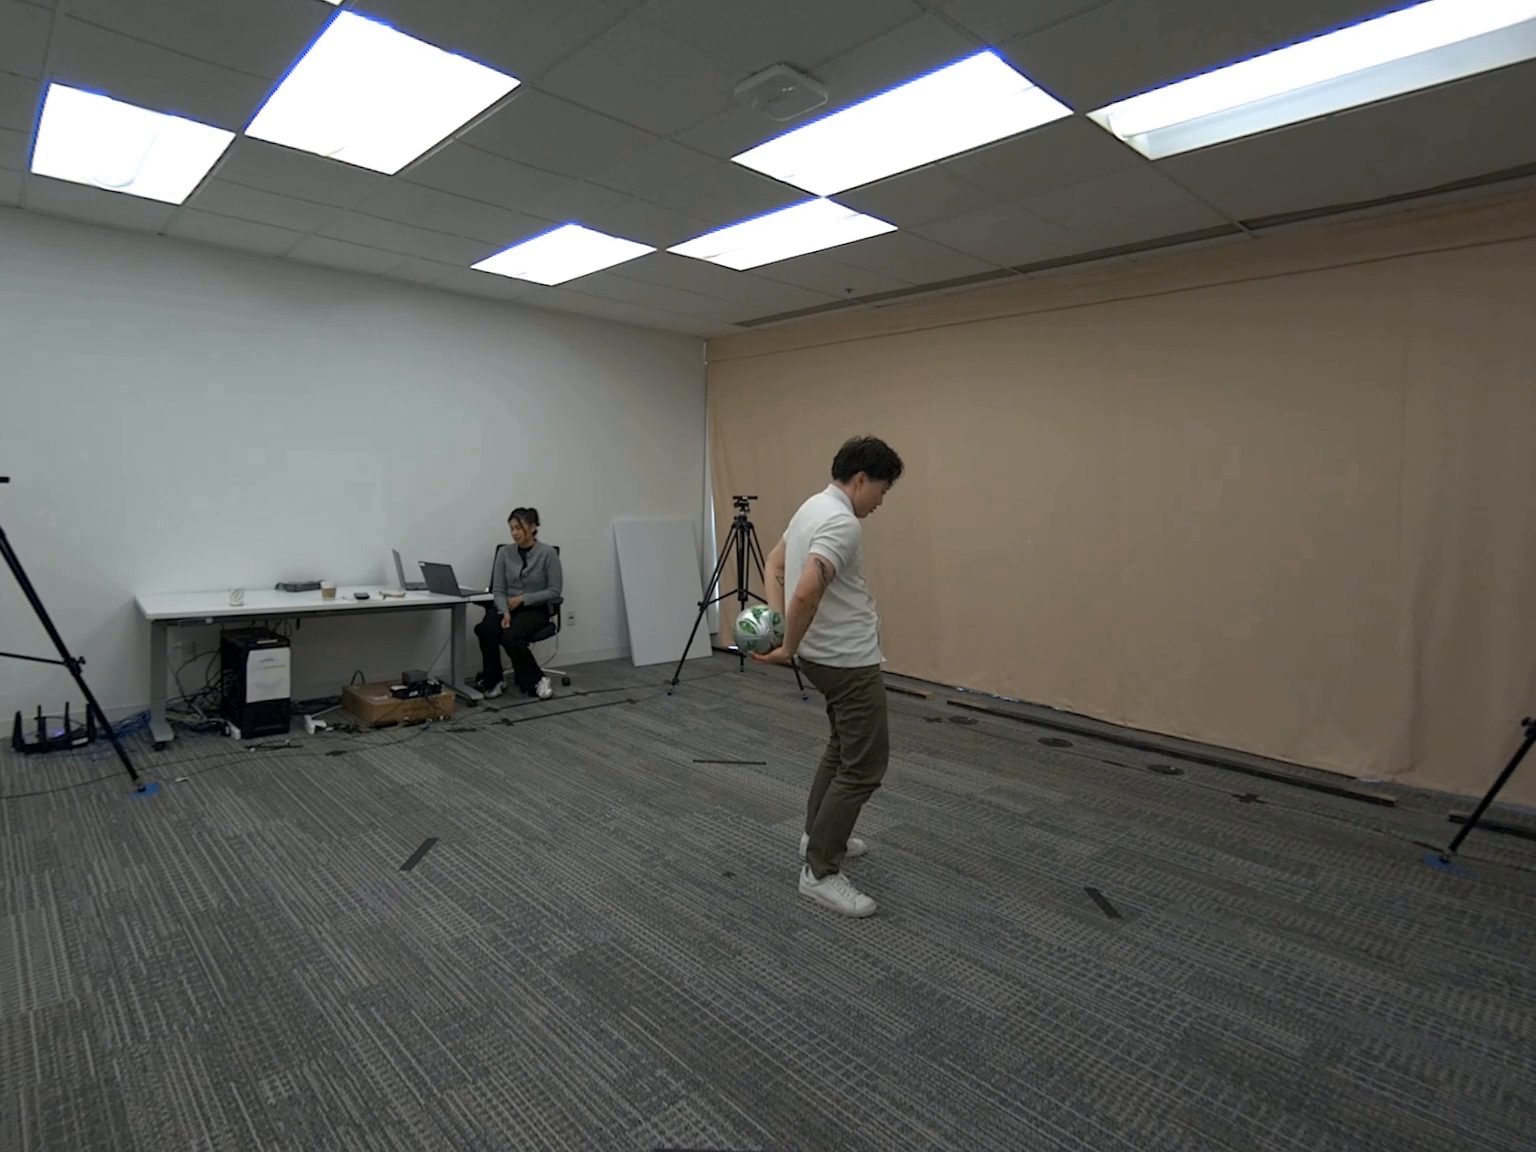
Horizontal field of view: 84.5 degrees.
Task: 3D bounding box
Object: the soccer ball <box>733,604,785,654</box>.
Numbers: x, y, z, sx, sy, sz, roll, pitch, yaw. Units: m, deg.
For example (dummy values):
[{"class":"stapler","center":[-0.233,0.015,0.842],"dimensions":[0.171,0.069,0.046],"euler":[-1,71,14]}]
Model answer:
[{"class":"soccer ball","center":[-0.032,0.196,2.911],"dimensions":[0.187,0.187,0.188],"euler":[1,4,-1]}]
